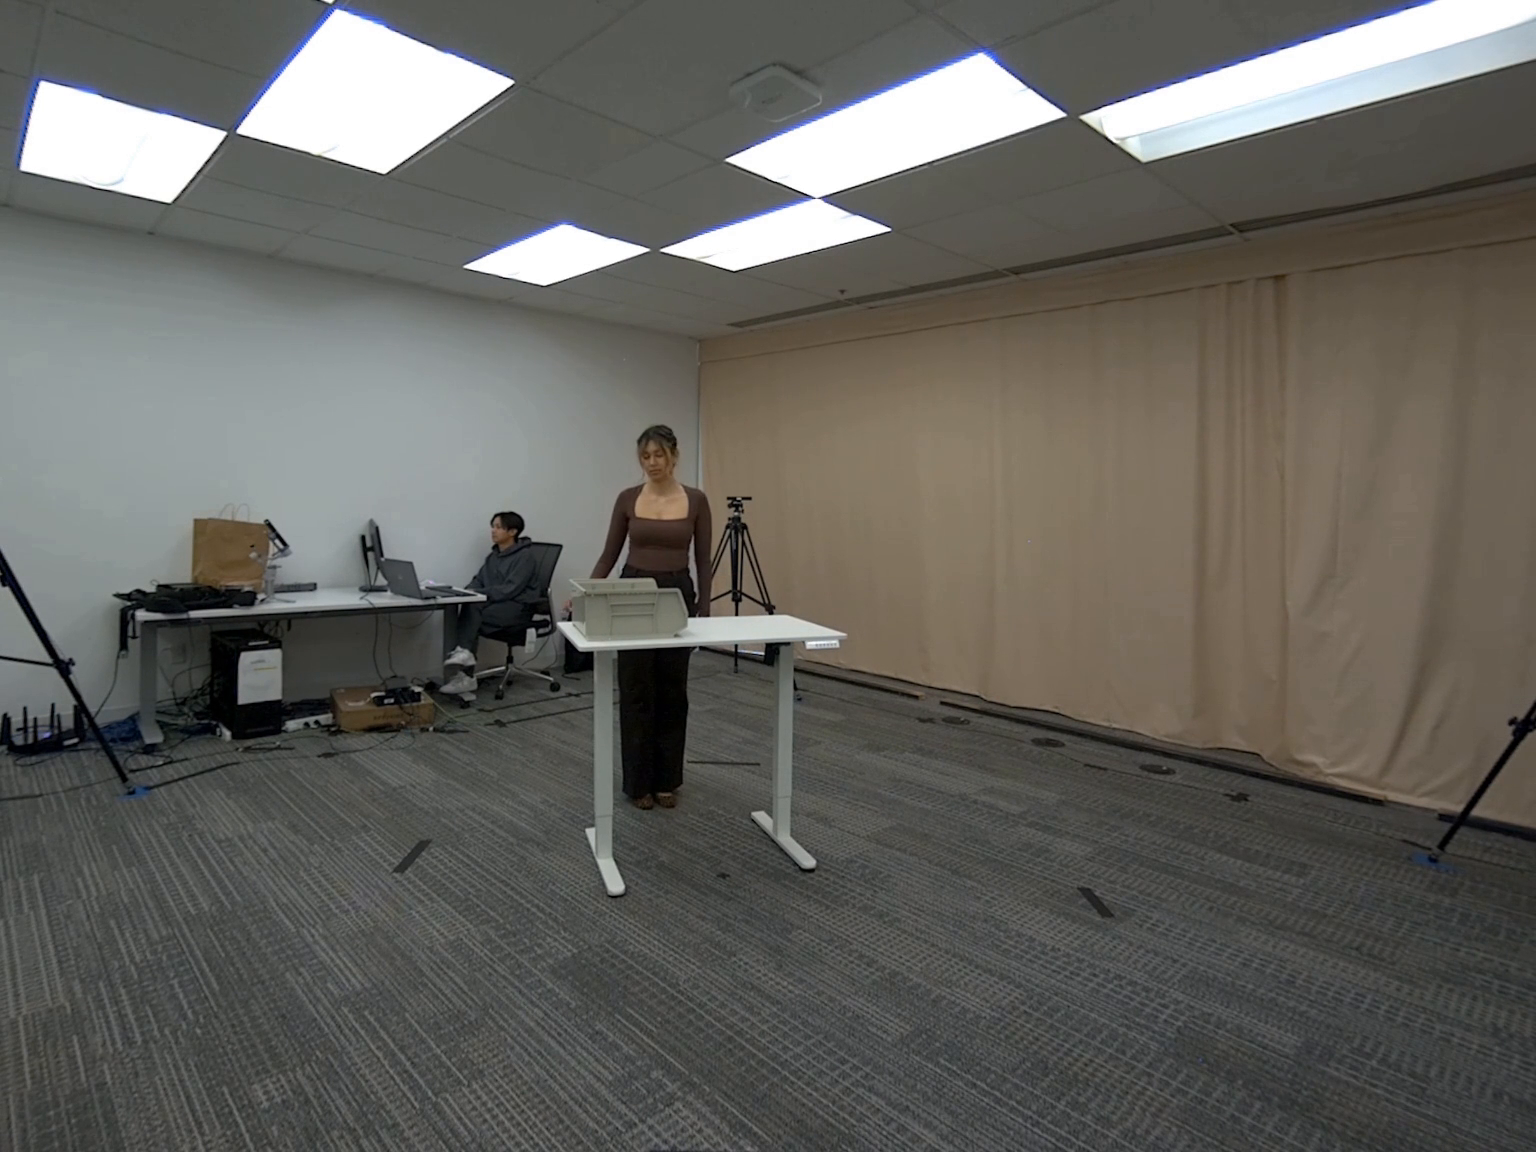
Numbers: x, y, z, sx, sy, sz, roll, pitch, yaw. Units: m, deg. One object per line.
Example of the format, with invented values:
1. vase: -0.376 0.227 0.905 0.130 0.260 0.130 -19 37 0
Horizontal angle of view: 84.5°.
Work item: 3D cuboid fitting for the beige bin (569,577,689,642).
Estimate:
1. beige bin: -0.552 0.122 3.179 0.372 0.188 0.430 -2 6 -20
